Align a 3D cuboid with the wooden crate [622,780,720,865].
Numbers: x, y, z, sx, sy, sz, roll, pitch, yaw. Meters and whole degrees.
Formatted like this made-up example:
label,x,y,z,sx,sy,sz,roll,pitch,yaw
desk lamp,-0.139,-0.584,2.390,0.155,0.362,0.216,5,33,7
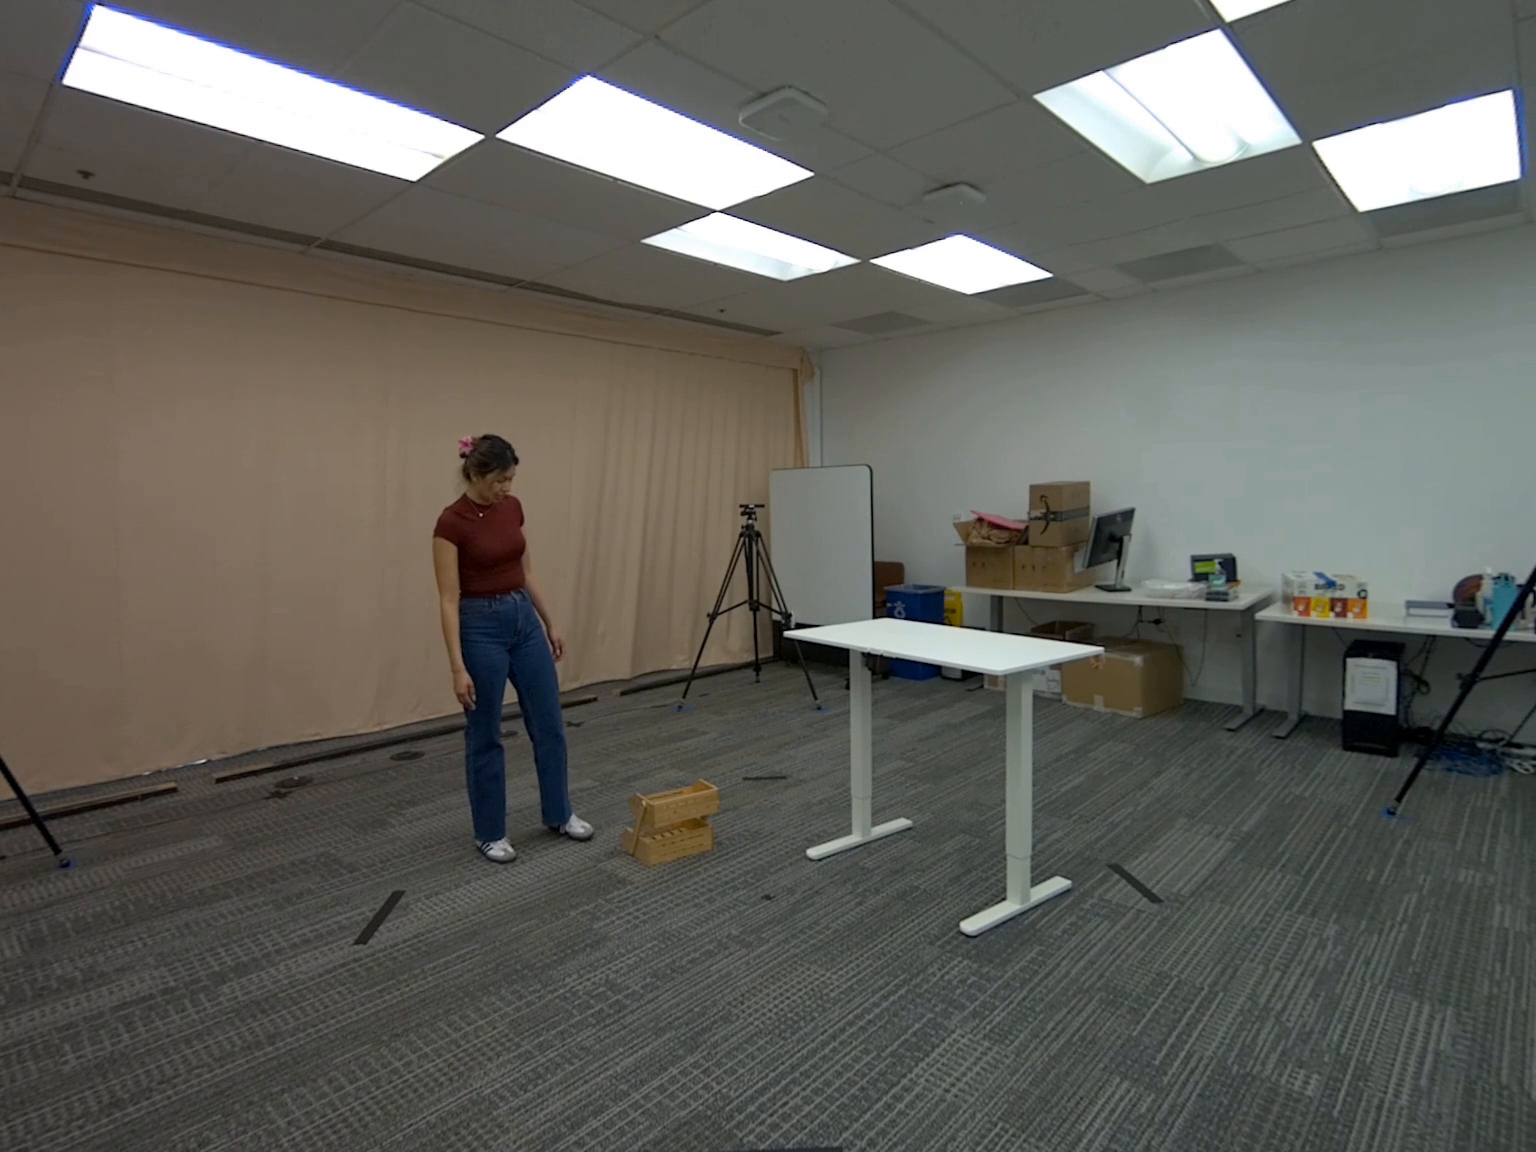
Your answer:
label,x,y,z,sx,sy,sz,roll,pitch,yaw
wooden crate,-0.402,0.978,3.416,0.315,0.273,0.311,-4,5,-33
